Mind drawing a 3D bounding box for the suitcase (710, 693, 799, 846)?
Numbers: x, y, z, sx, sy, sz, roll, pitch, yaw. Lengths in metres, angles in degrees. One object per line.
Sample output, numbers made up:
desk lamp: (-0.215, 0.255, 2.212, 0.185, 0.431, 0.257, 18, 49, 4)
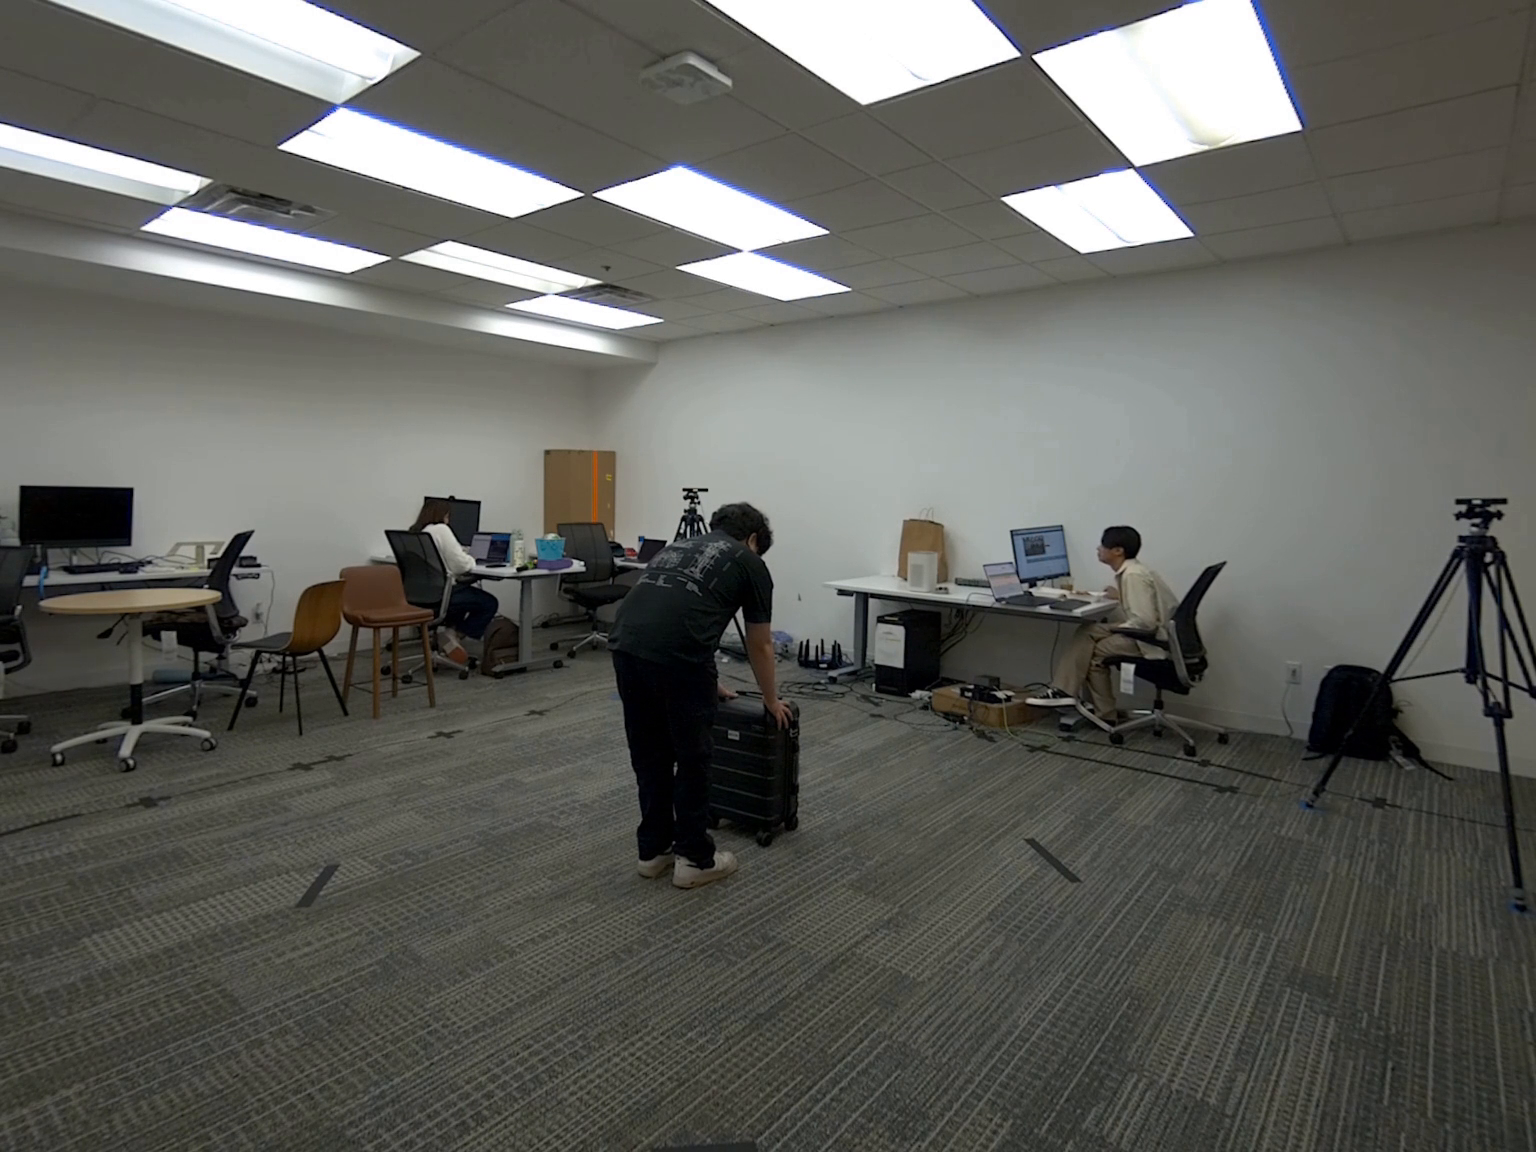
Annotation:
suitcase: (-0.070, 0.762, 3.507, 0.387, 0.548, 0.241, 3, 3, 31)
